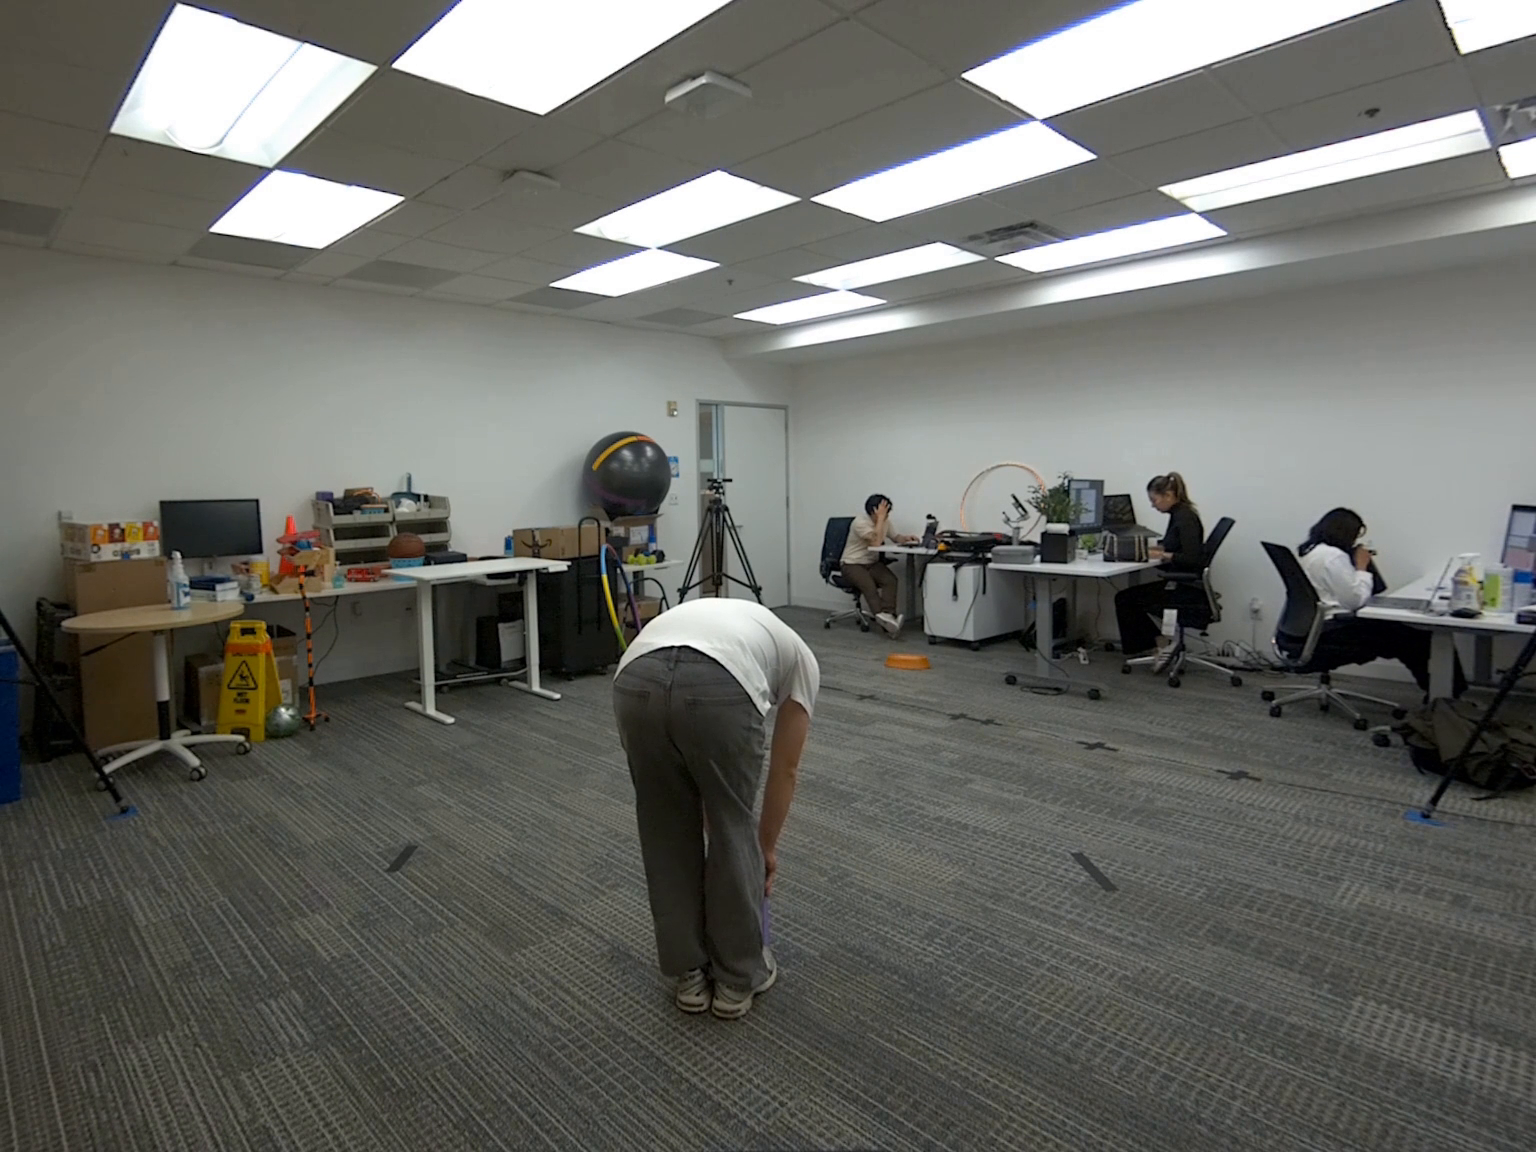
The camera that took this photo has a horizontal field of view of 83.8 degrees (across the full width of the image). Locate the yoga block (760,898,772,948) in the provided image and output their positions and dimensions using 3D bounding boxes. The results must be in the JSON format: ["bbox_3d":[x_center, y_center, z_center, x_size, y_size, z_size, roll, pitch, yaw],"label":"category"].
[{"bbox_3d":[-0.061,1.008,2.545,0.151,0.228,0.076,0,4,11],"label":"yoga block"}]
